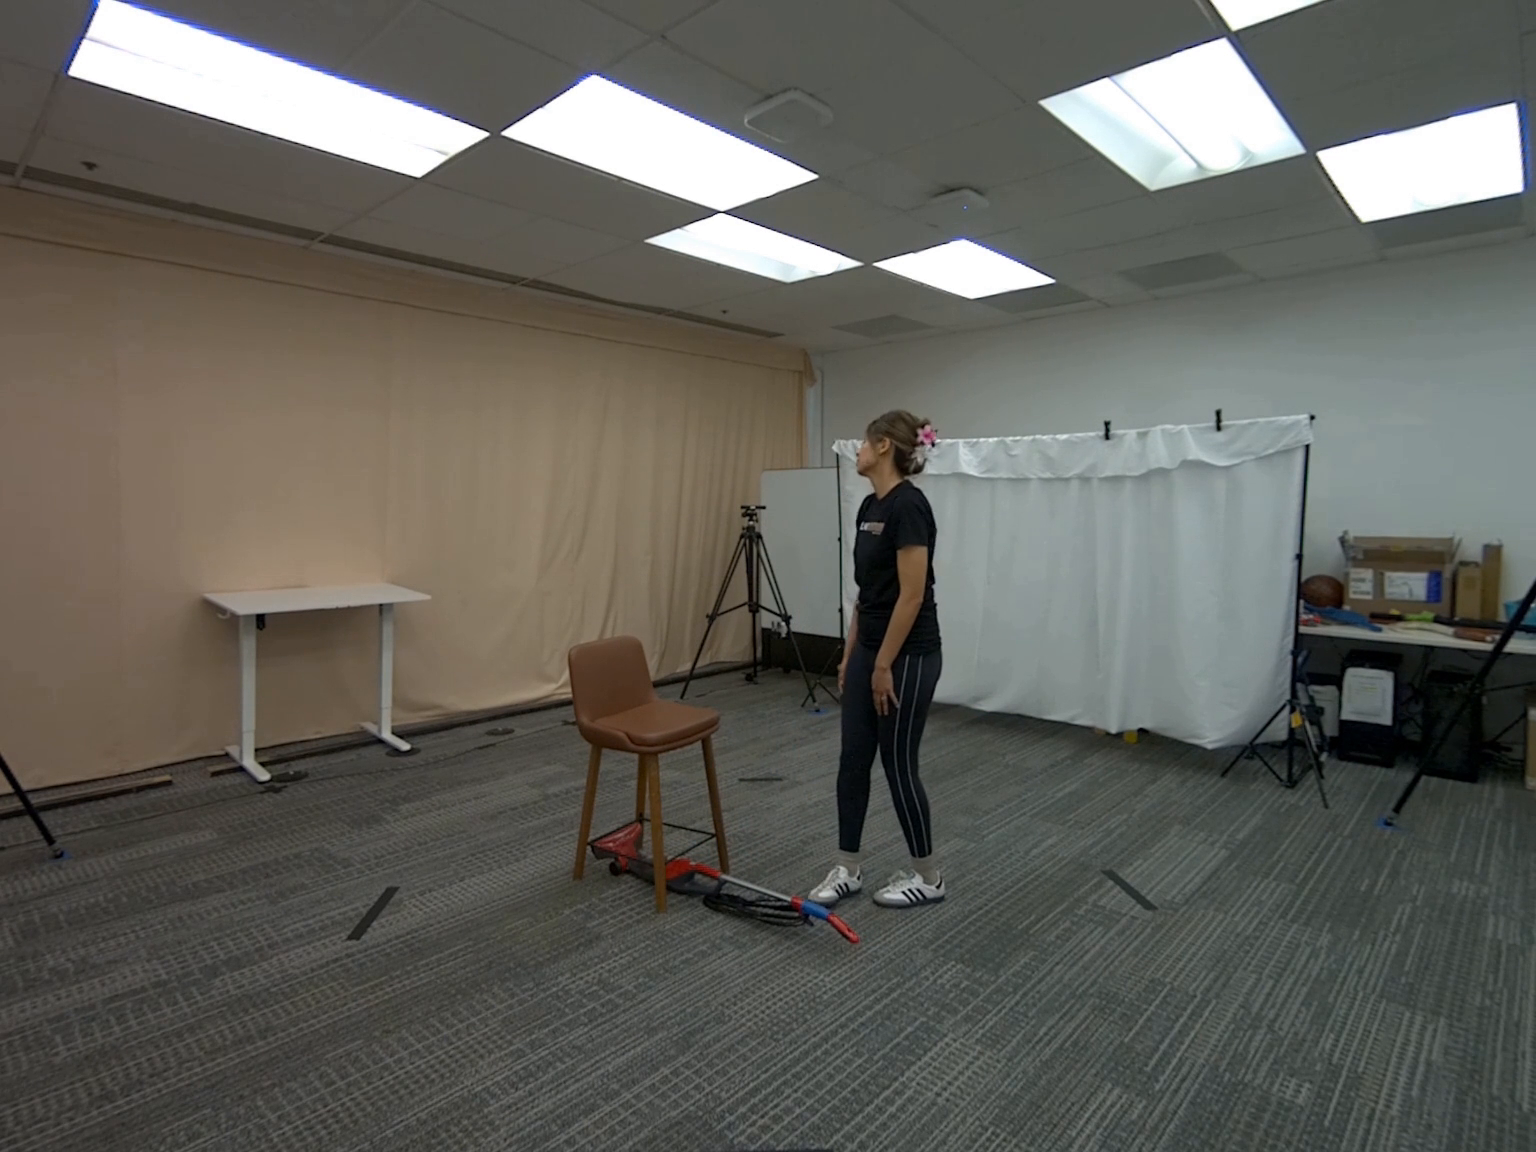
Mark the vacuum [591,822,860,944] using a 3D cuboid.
[{"bbox_3d":[-0.141,1.093,2.908,1.084,0.143,0.245,5,7,39],"label":"vacuum"}]
